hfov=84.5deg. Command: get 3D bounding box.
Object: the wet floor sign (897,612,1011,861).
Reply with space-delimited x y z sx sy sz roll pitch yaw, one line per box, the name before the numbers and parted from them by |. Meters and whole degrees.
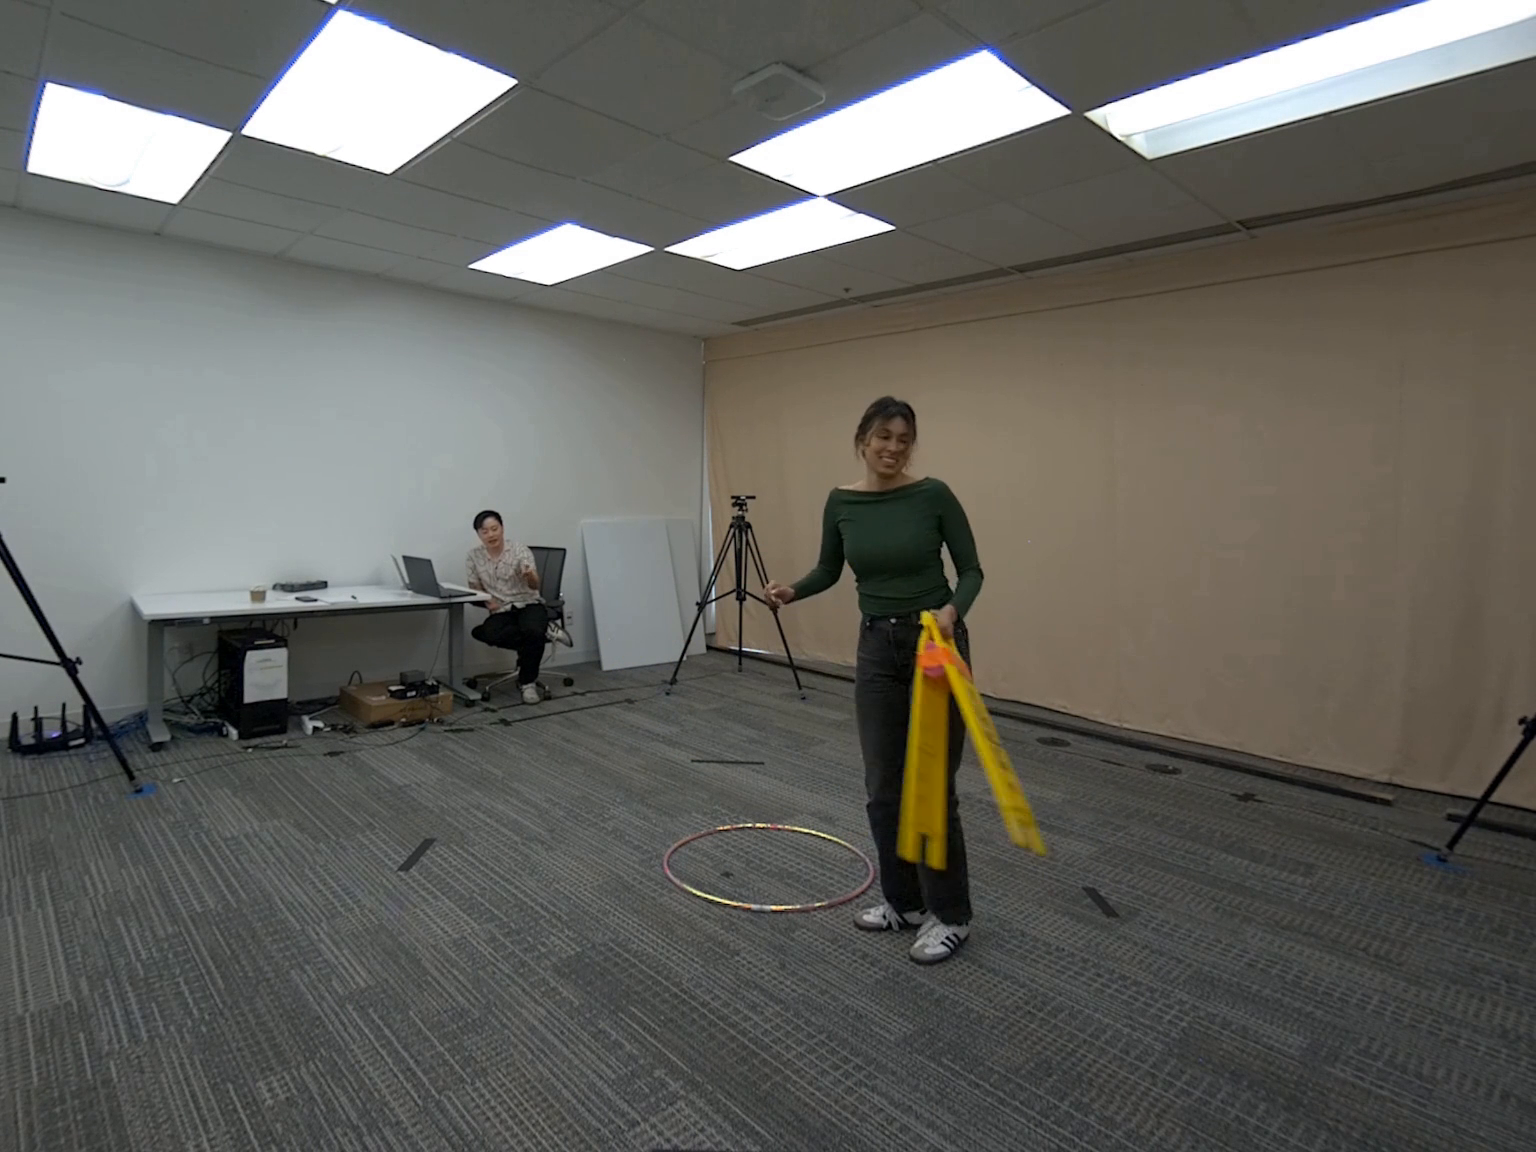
wet floor sign | 0.444 0.393 2.319 0.294 0.656 0.273 -10 -29 28
